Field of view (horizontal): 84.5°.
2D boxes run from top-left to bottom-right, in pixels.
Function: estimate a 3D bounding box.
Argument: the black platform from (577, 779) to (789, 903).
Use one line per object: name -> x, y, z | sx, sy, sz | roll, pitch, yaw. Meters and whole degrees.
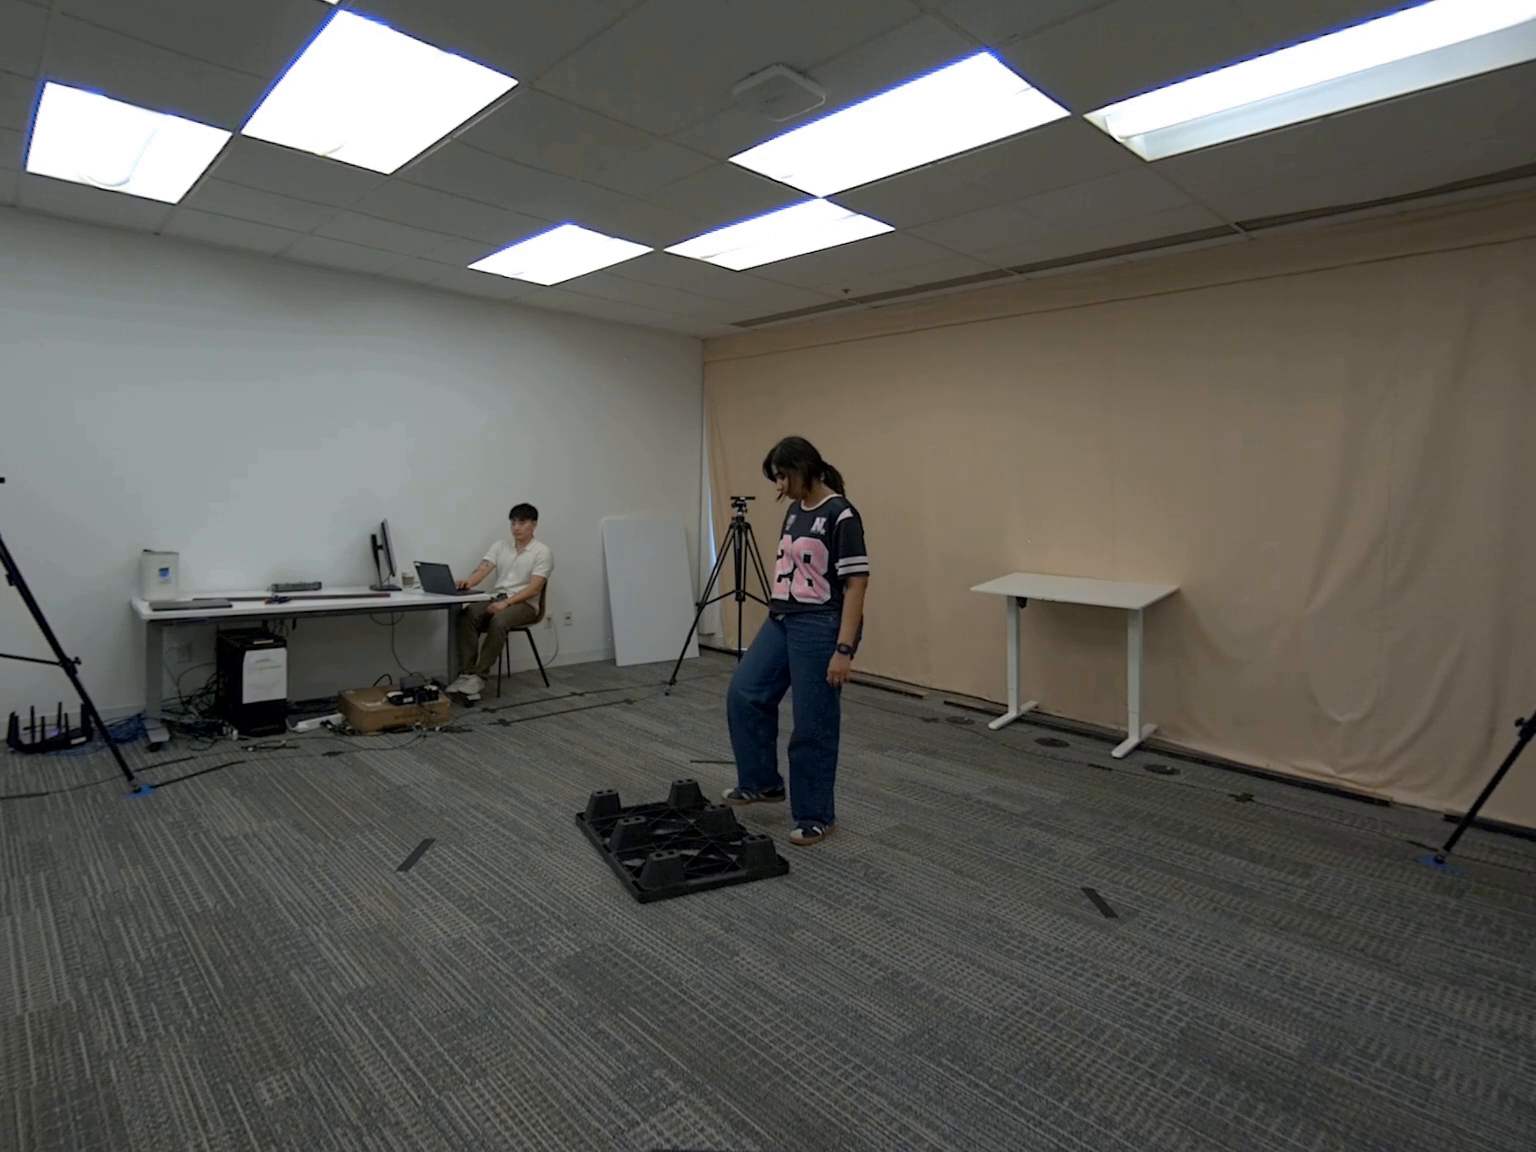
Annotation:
black platform -> -0.368, 1.012, 3.340 | 0.593, 0.143, 0.823 | -2, 6, -28
